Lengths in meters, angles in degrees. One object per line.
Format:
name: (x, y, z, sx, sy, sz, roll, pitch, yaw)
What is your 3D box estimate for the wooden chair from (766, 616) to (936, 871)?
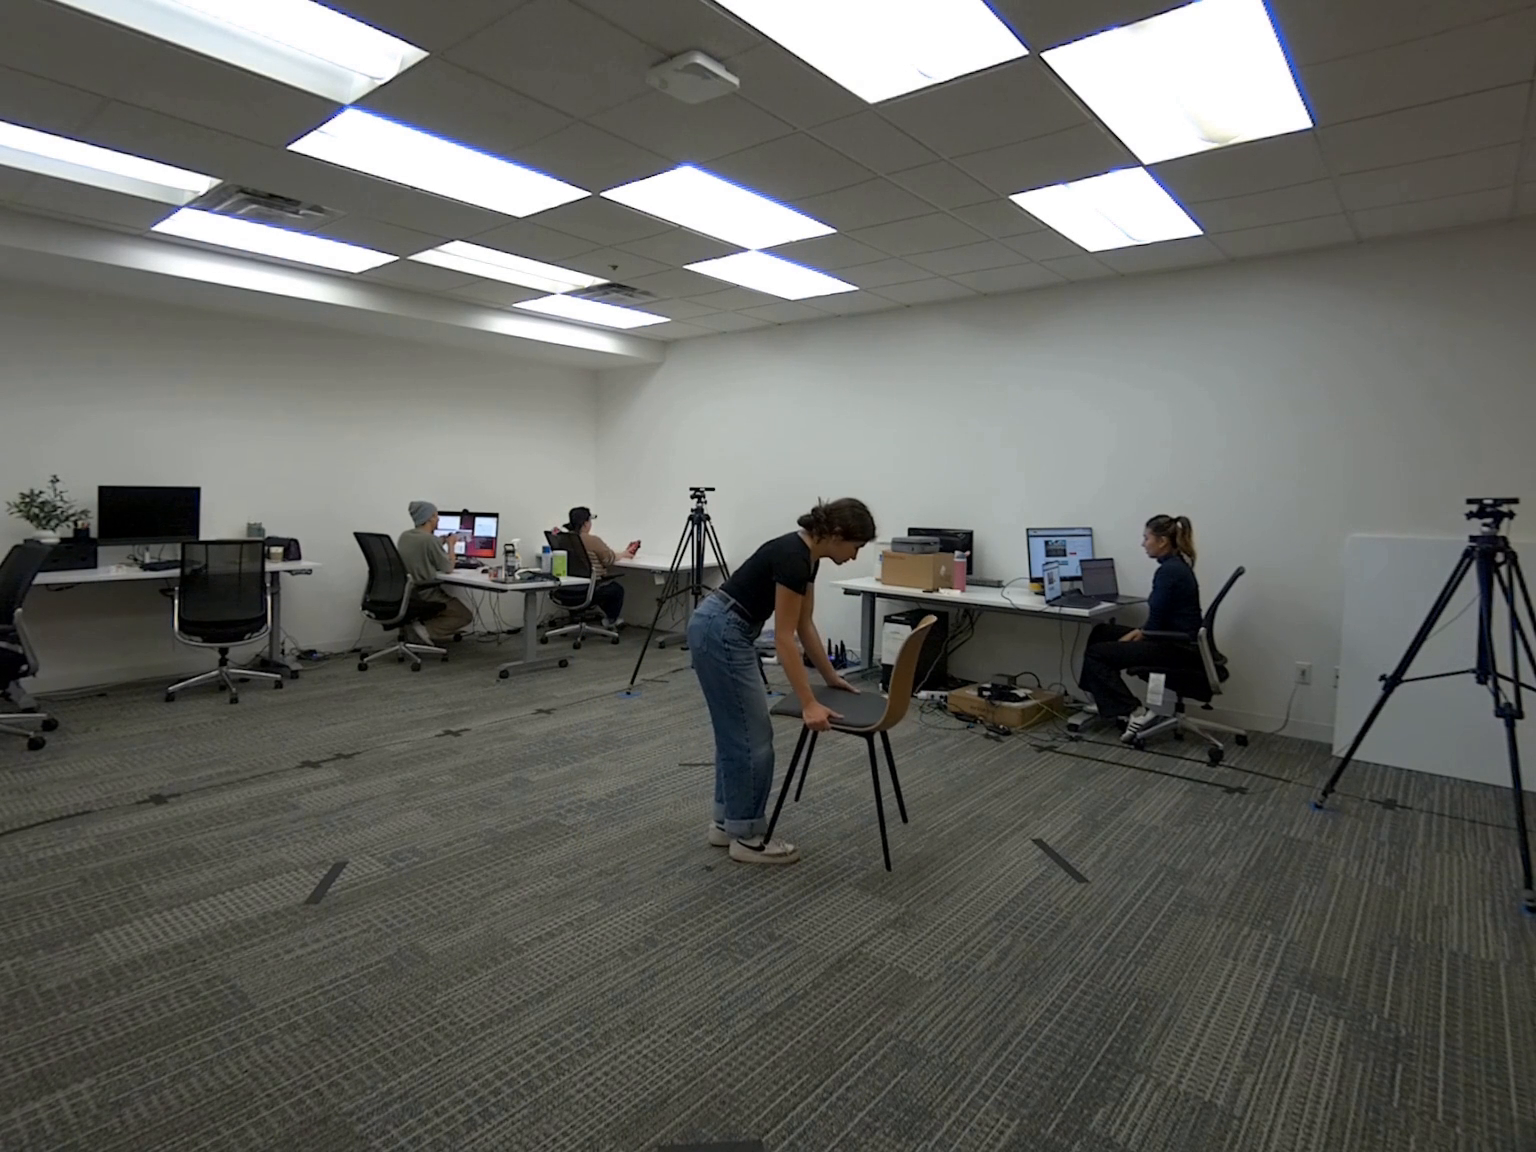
wooden chair: (0.277, 0.538, 3.135, 0.535, 0.873, 0.470, 10, 6, 18)
